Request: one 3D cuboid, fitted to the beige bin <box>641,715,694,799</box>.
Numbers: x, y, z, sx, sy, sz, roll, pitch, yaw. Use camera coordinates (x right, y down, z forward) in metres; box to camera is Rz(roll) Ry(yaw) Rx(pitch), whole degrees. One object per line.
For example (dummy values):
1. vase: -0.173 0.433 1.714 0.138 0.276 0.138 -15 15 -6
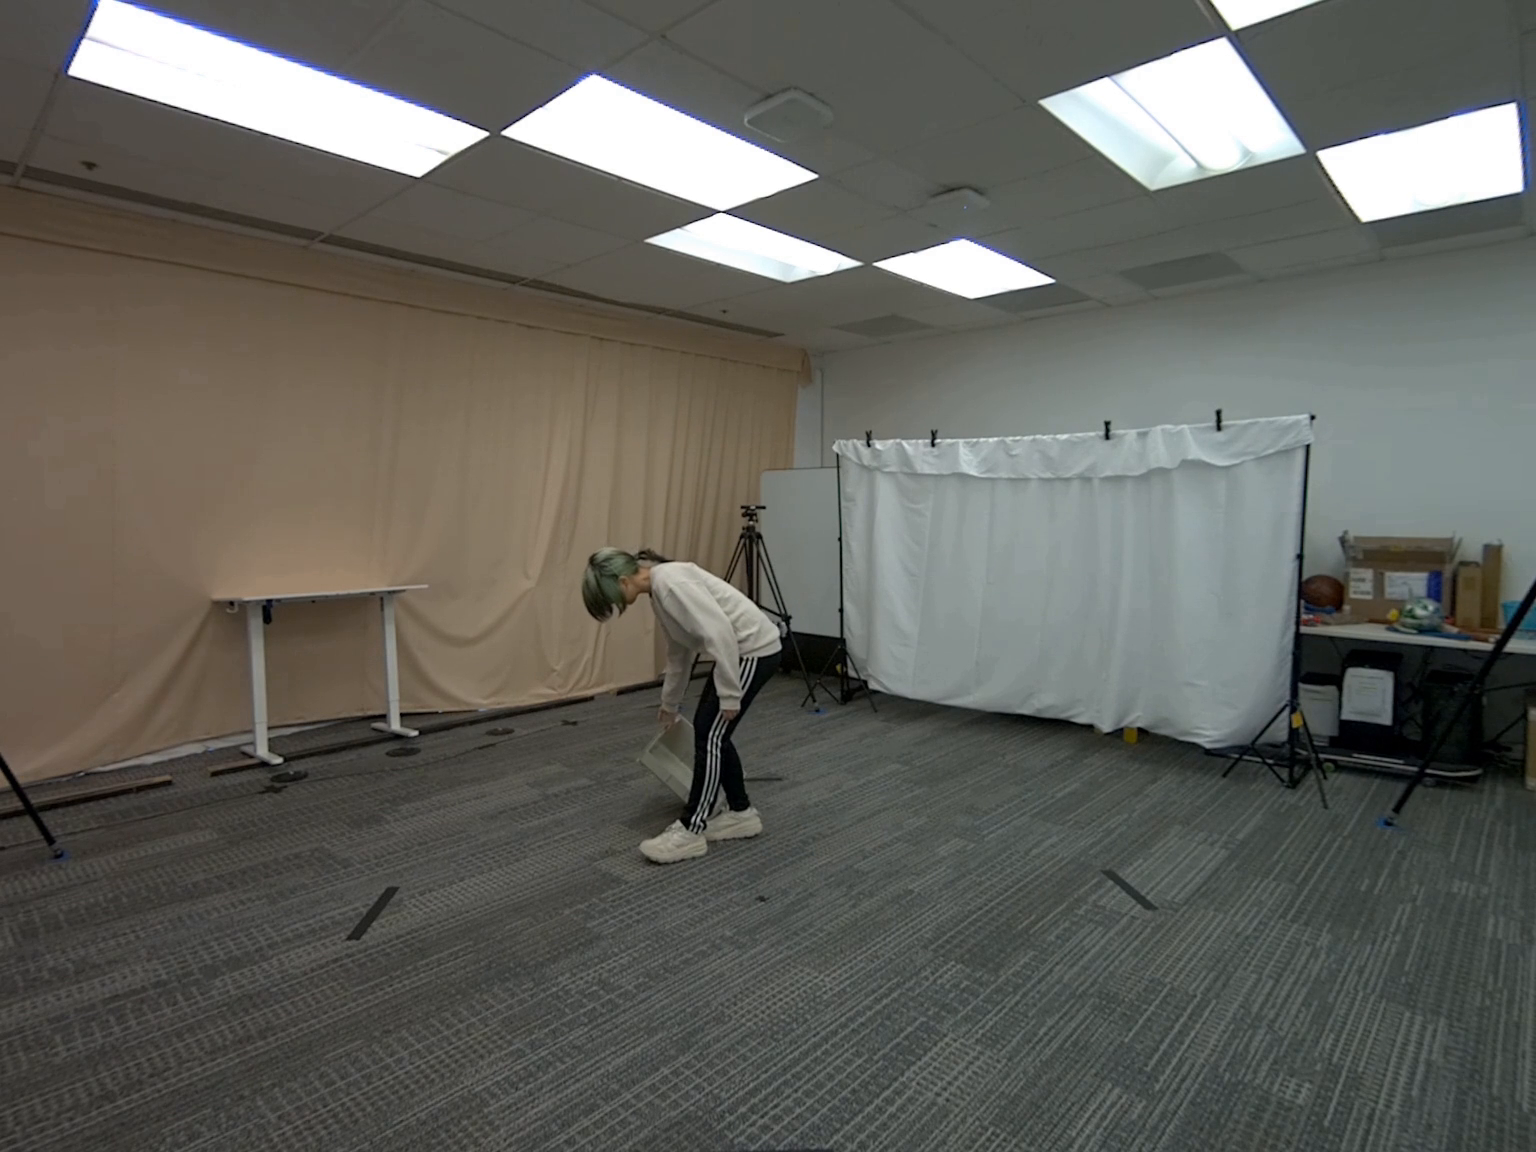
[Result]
1. beige bin: -0.351 0.876 3.830 0.427 0.189 0.373 40 9 7
